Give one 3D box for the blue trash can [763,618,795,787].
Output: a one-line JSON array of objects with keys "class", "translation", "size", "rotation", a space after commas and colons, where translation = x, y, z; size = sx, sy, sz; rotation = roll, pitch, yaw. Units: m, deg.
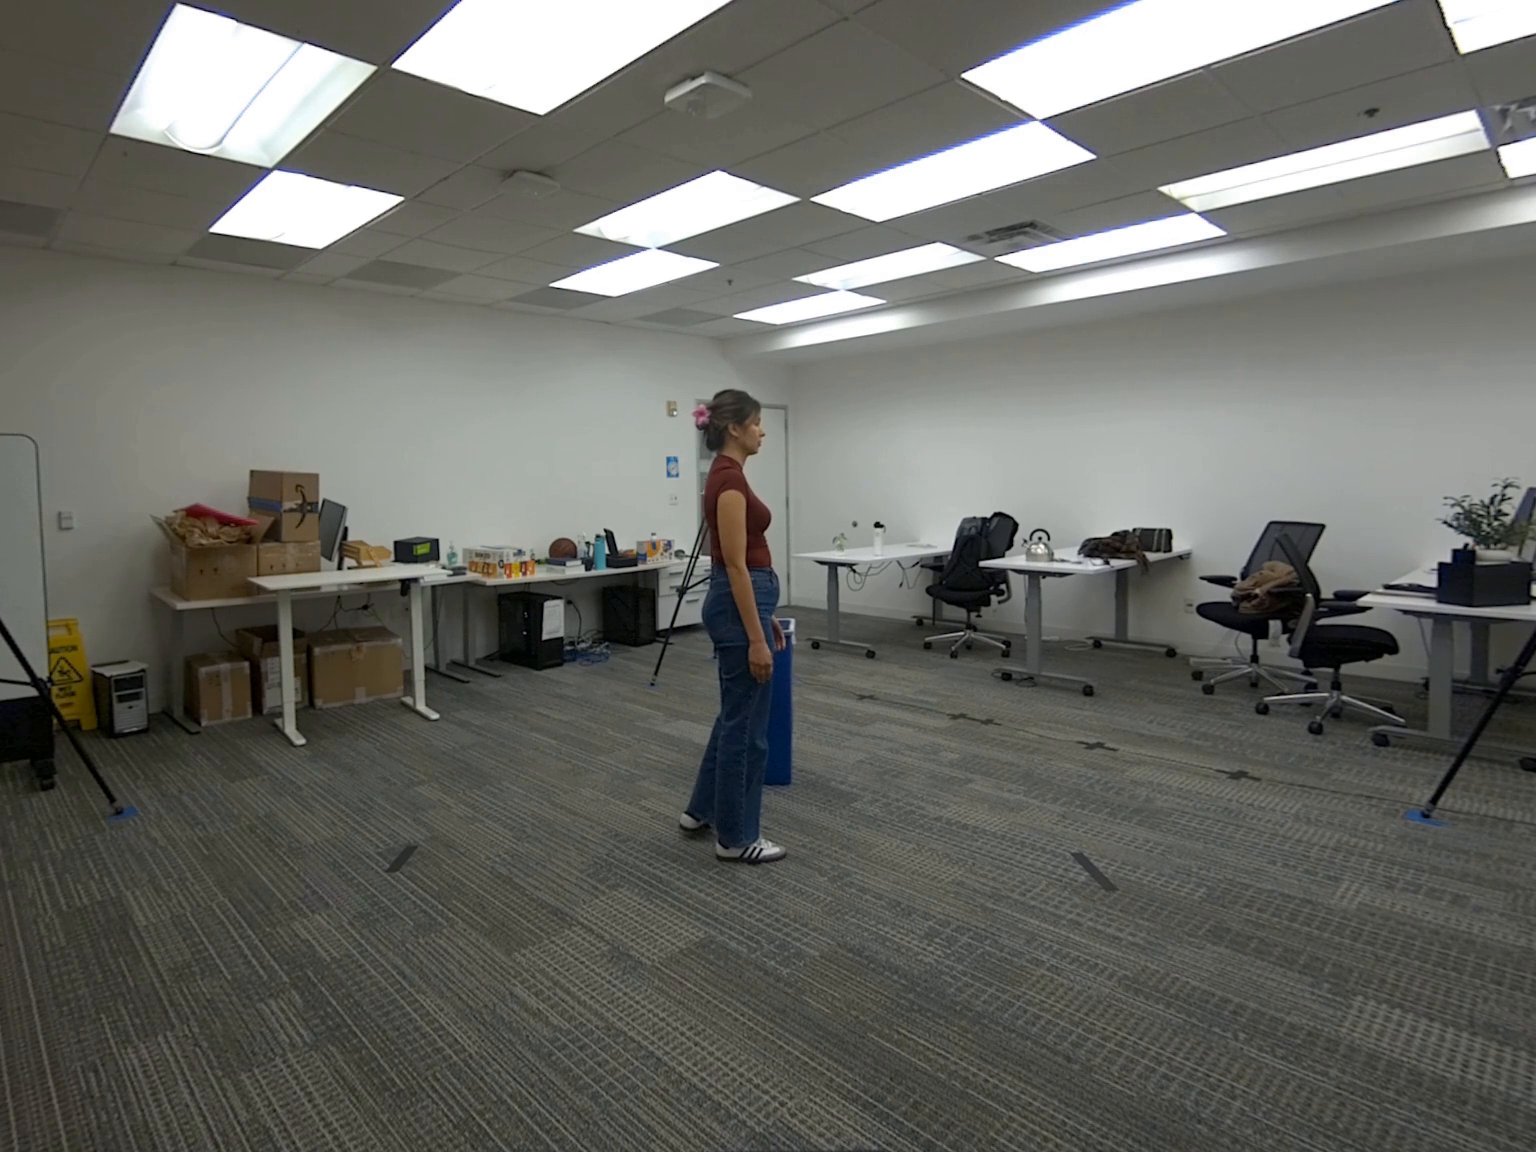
[{"class": "blue trash can", "translation": [-0.054, 0.586, 4.035], "size": [0.376, 0.711, 0.378], "rotation": [-1, 4, 4]}]
